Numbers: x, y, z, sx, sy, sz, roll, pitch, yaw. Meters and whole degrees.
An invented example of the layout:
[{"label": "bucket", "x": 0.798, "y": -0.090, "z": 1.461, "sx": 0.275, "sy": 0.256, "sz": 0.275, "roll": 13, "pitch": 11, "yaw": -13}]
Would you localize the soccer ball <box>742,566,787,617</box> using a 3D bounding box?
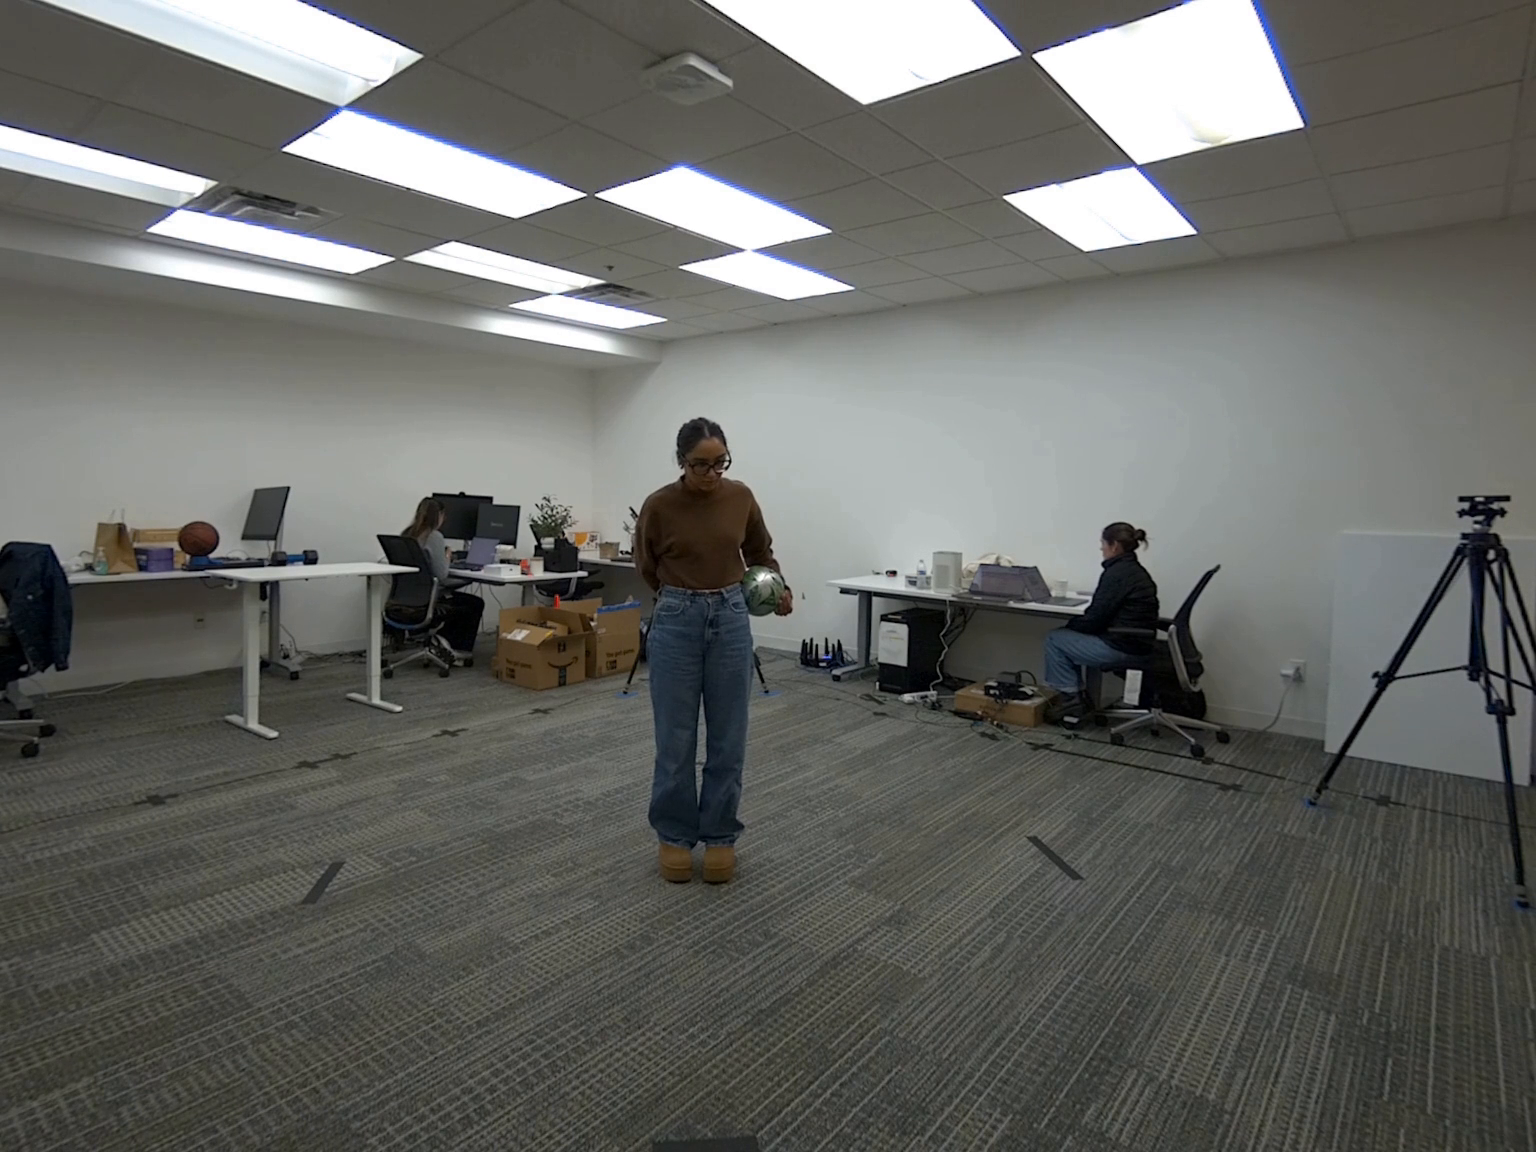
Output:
[{"label": "soccer ball", "x": -0.043, "y": 0.056, "z": 3.158, "sx": 0.187, "sy": 0.187, "sz": 0.188, "roll": 1, "pitch": 4, "yaw": -2}]
